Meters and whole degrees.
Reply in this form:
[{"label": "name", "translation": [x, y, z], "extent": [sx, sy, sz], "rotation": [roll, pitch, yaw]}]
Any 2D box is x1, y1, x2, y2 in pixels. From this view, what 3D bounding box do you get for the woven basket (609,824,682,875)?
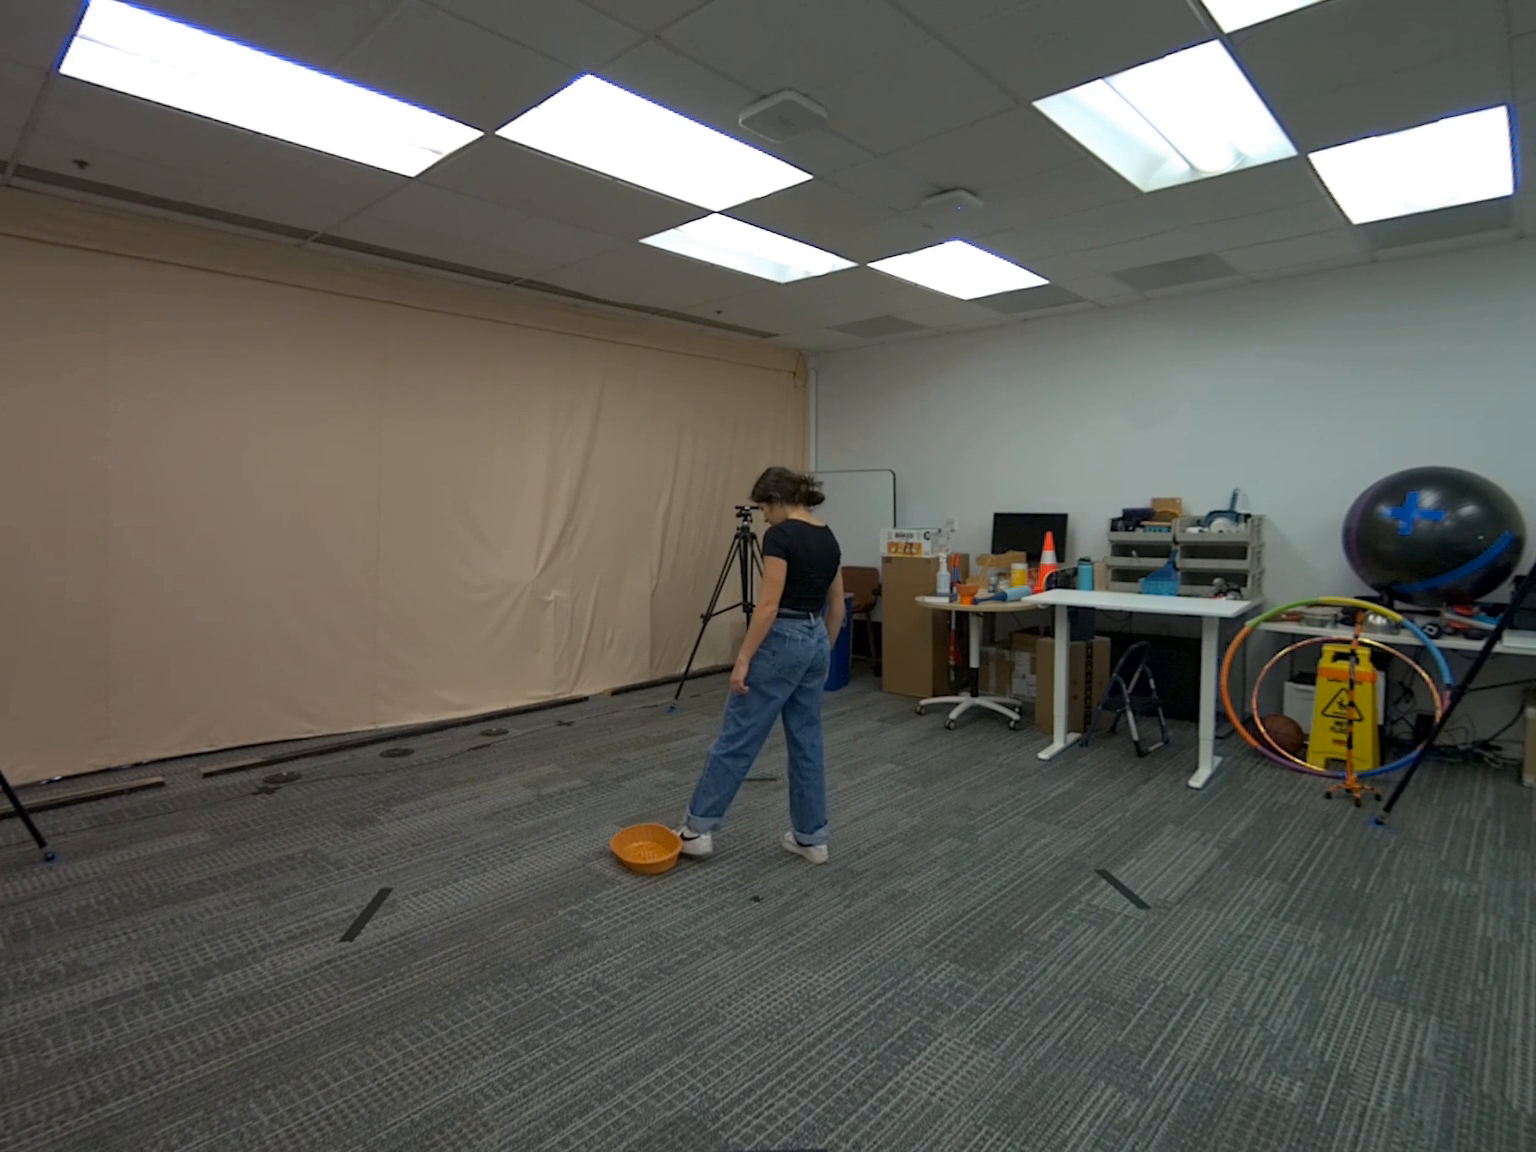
[{"label": "woven basket", "translation": [-0.479, 1.078, 3.300], "extent": [0.246, 0.073, 0.361], "rotation": [-12, 10, -32]}]
